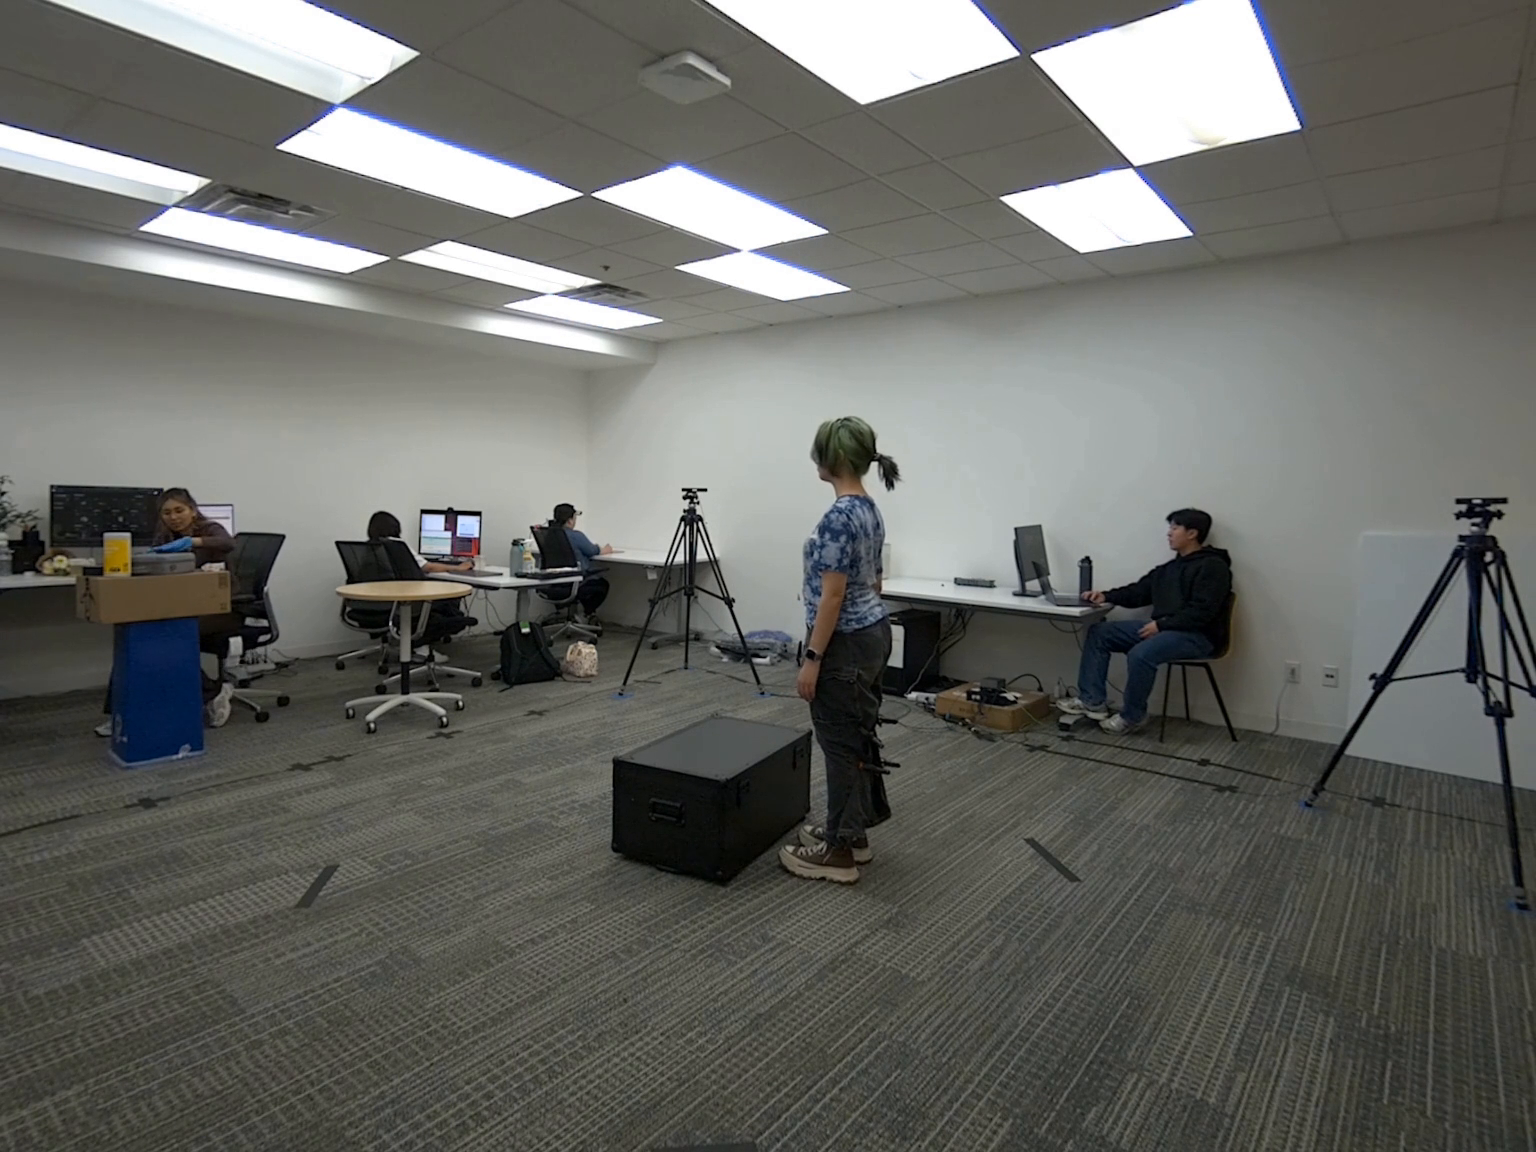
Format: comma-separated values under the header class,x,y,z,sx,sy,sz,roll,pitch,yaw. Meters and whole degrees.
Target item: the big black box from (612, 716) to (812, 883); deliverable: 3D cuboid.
class,x,y,z,sx,sy,sz,roll,pitch,yaw
big black box,-0.194,0.849,3.433,0.536,0.394,0.842,3,6,27
